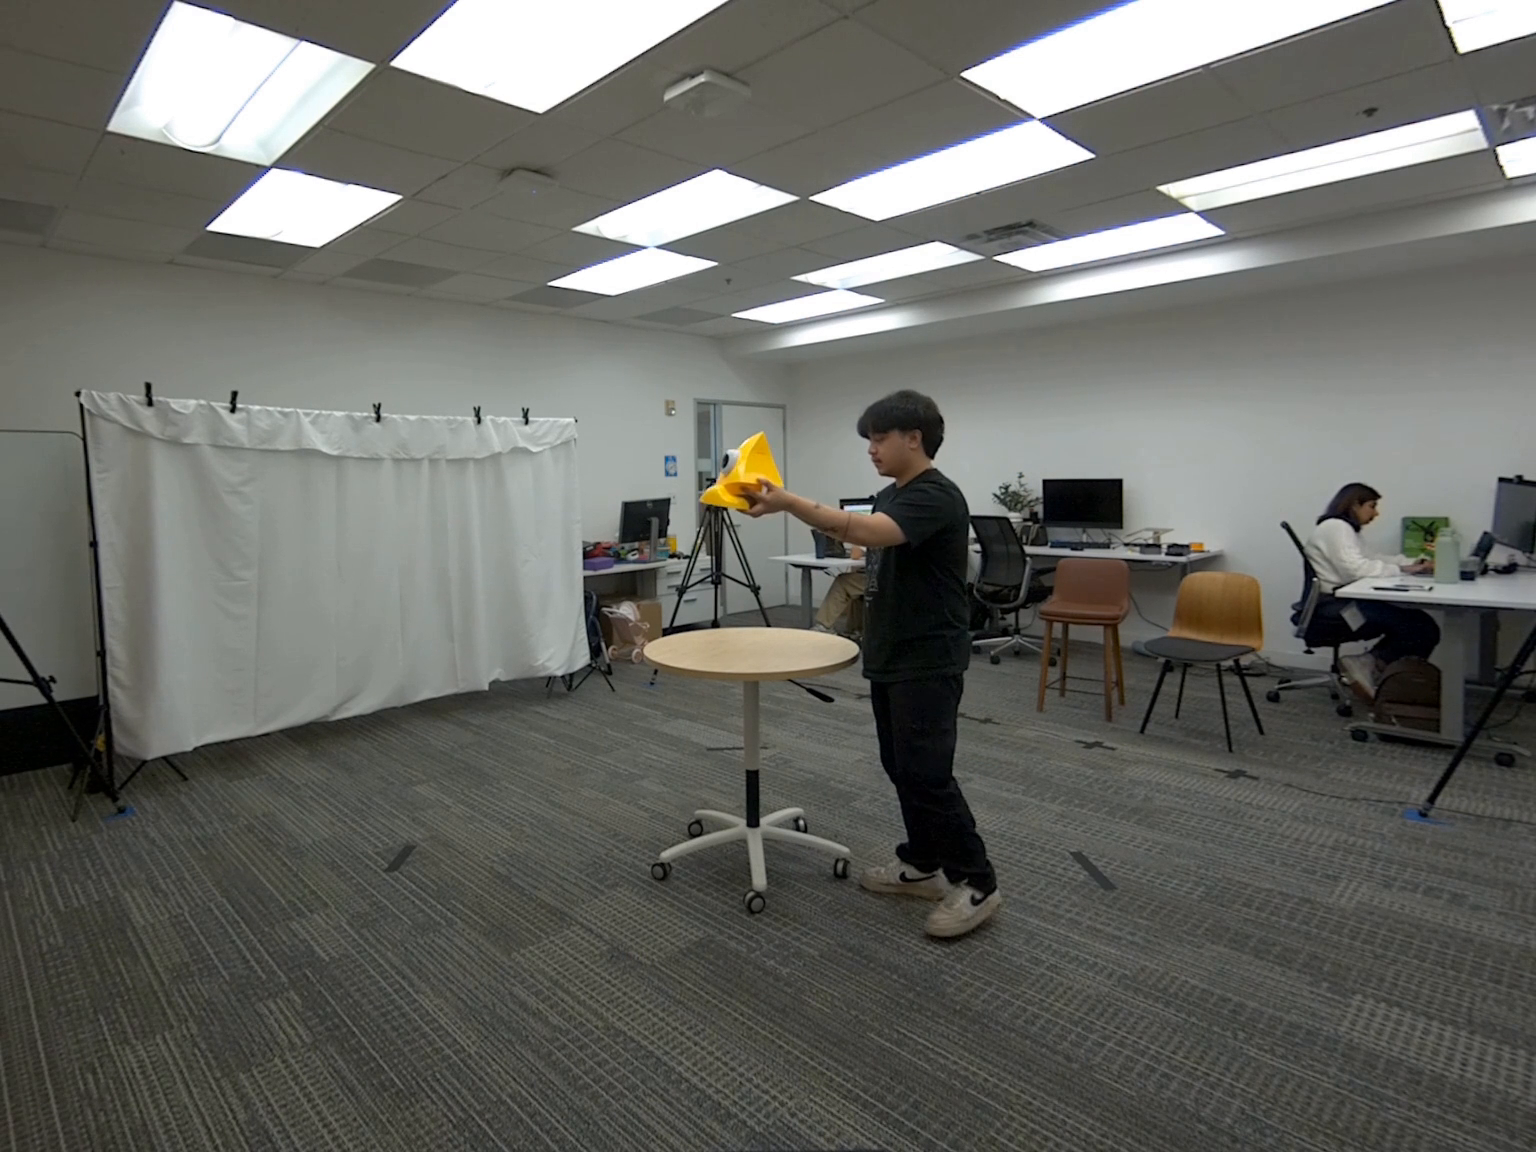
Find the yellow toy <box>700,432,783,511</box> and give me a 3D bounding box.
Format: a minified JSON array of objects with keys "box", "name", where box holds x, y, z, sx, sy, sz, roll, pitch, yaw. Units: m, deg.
[{"box":[-0.072,-0.320,2.542,0.199,0.230,0.199,12,8,37],"name":"yellow toy"}]
